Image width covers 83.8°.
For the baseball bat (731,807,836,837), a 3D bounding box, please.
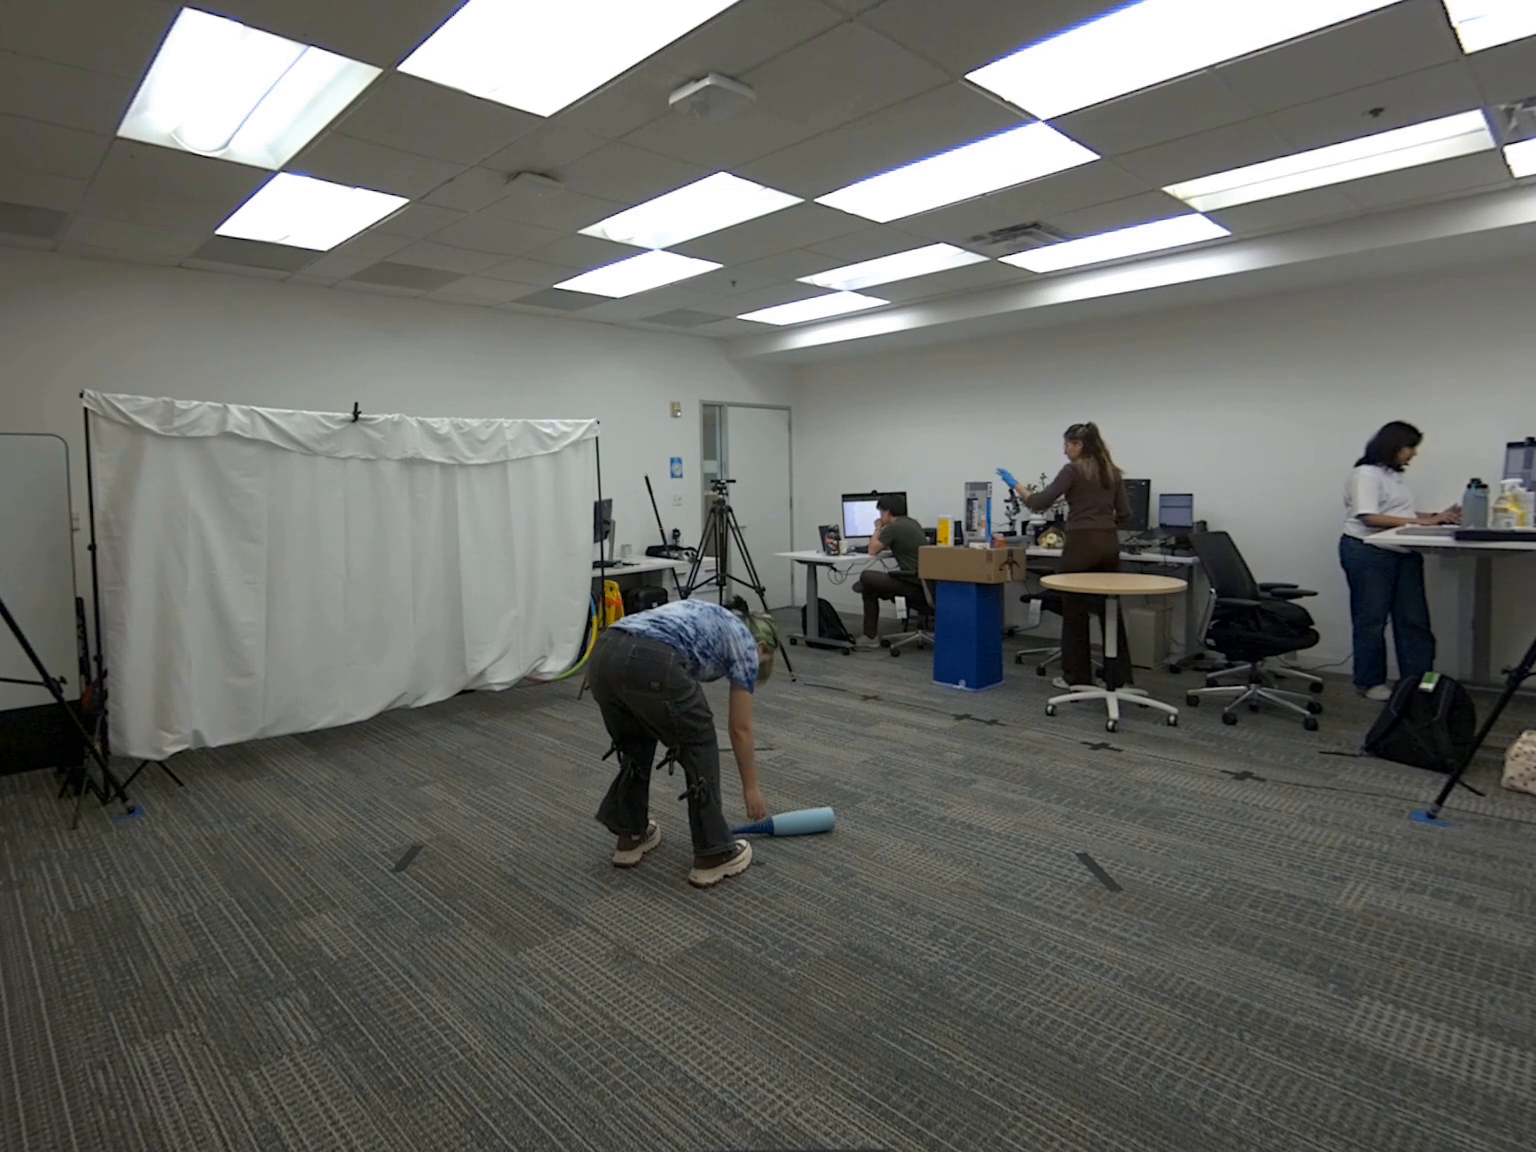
[{"bbox_3d":[-0.004,0.985,3.347,0.539,0.088,0.090,-5,5,-8],"label":"baseball bat"}]
